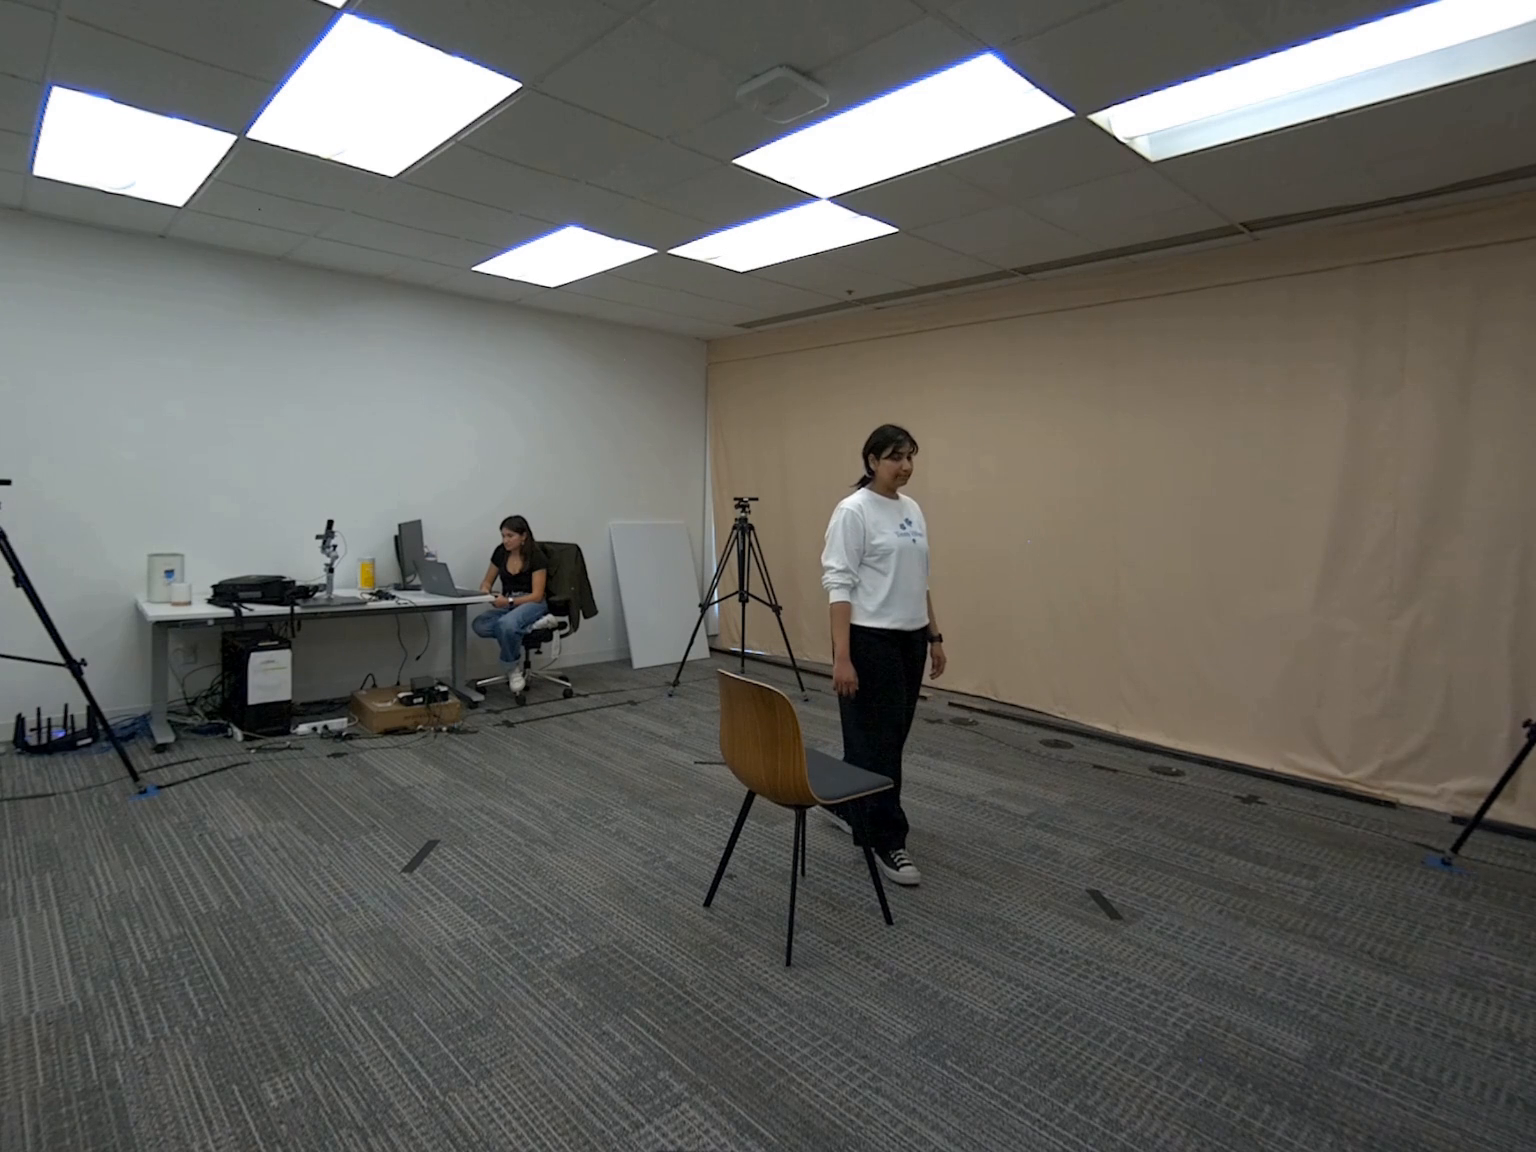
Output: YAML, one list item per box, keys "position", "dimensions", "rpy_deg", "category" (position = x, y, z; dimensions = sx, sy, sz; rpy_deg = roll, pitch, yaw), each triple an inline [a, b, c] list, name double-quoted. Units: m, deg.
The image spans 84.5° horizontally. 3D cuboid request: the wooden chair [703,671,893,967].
- position: [0.107, 0.713, 2.796]
  dimensions: [0.512, 0.873, 0.490]
  rpy_deg: [-7, 8, -37]
  category: "wooden chair"
